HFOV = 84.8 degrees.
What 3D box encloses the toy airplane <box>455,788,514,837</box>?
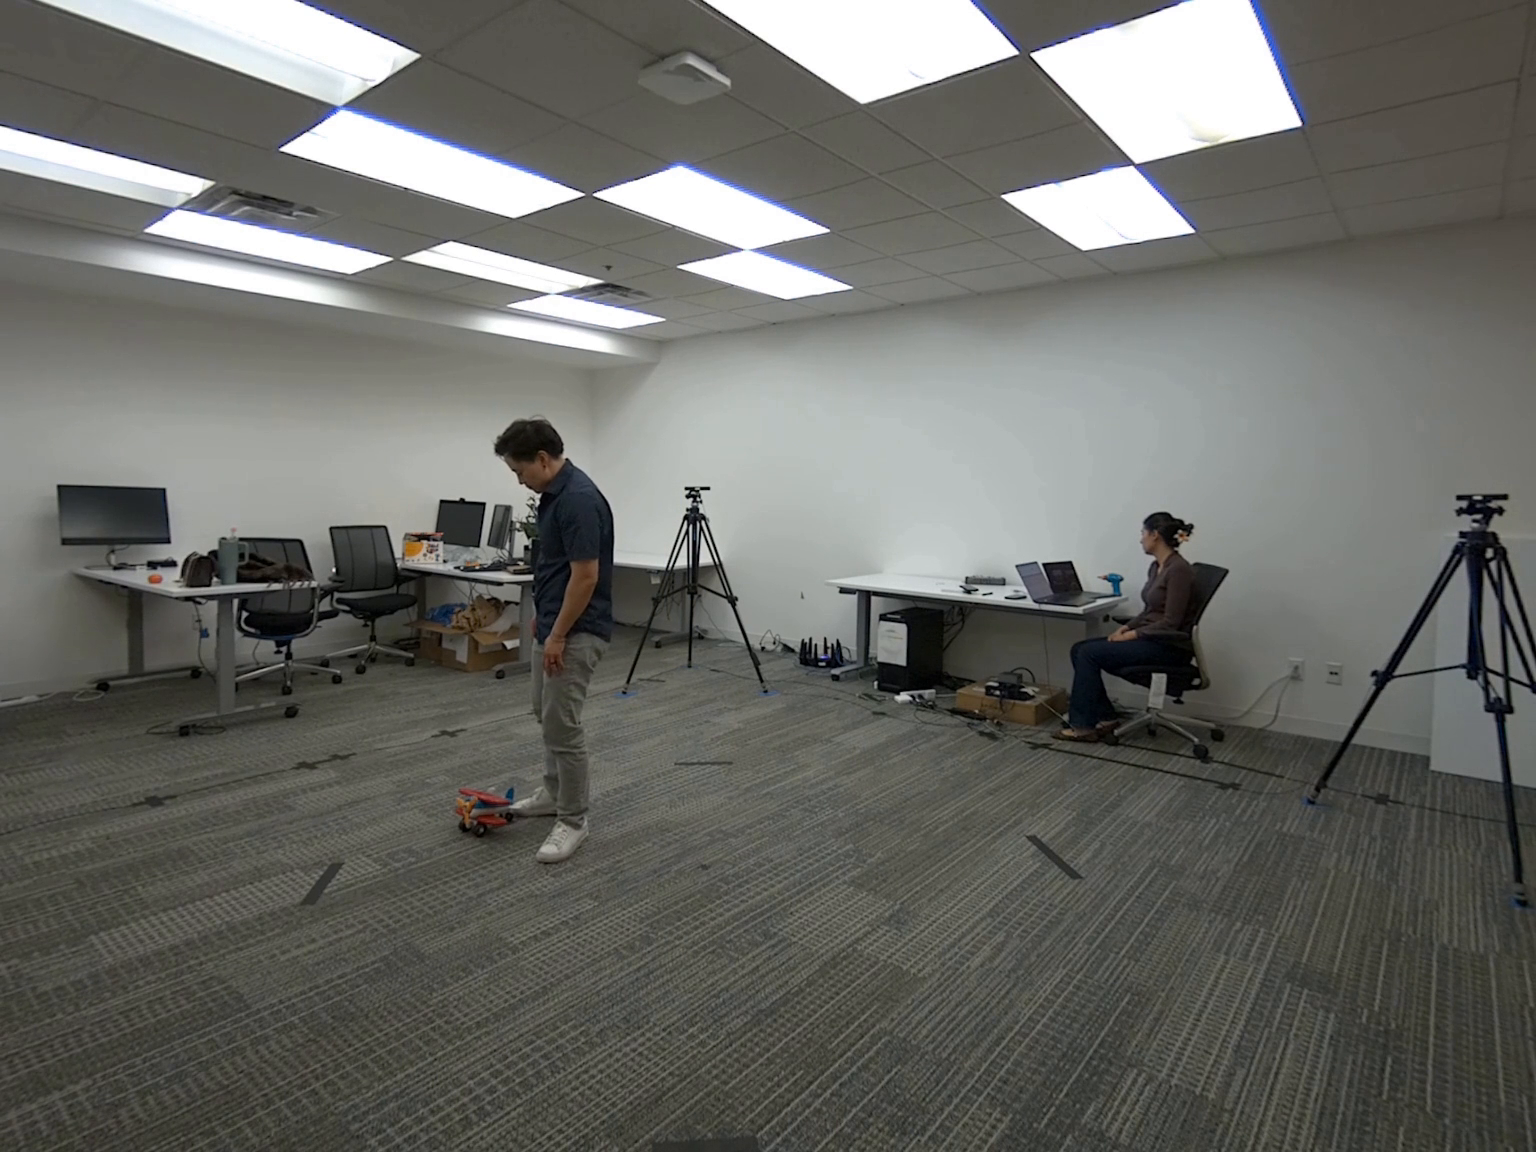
[{"bbox_3d":[-1.168,0.945,3.459,0.252,0.156,0.259,1,5,3],"label":"toy airplane"}]
